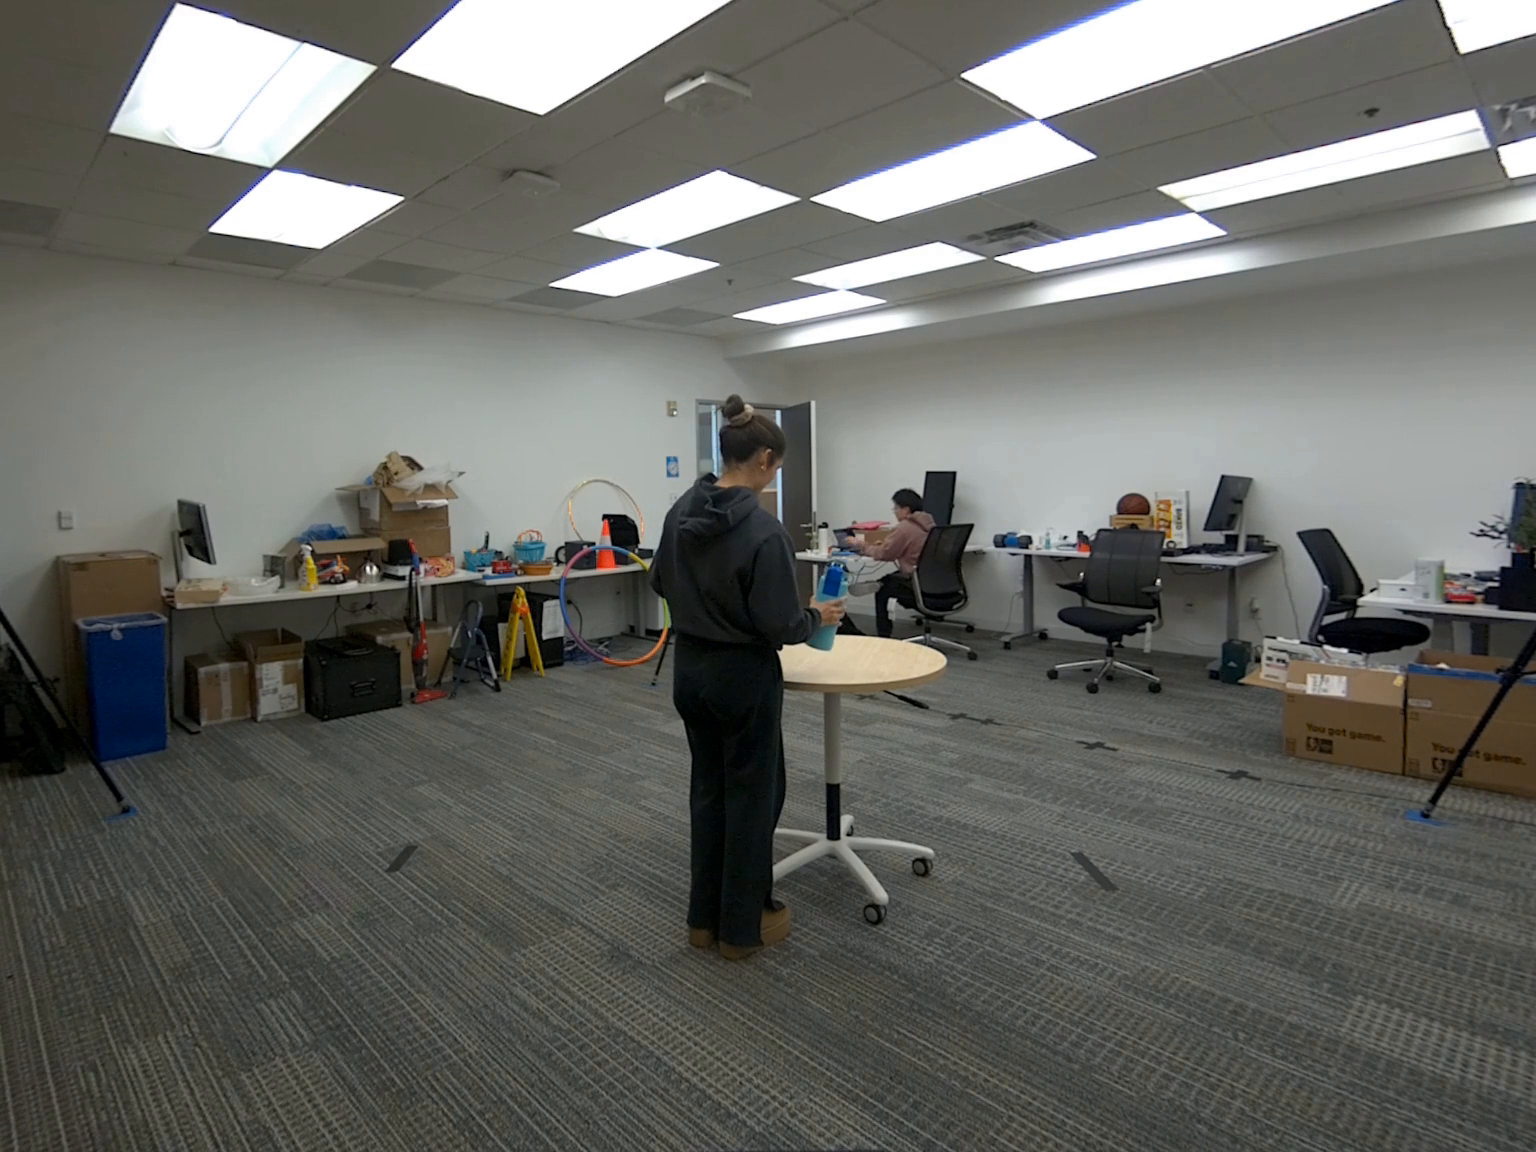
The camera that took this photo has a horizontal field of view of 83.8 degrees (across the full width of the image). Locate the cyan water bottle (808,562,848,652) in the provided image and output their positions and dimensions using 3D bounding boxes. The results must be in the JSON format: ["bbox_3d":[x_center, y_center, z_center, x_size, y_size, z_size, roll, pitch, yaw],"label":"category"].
[{"bbox_3d":[0.183,0.077,2.657,0.092,0.282,0.093,13,5,-3],"label":"cyan water bottle"}]
